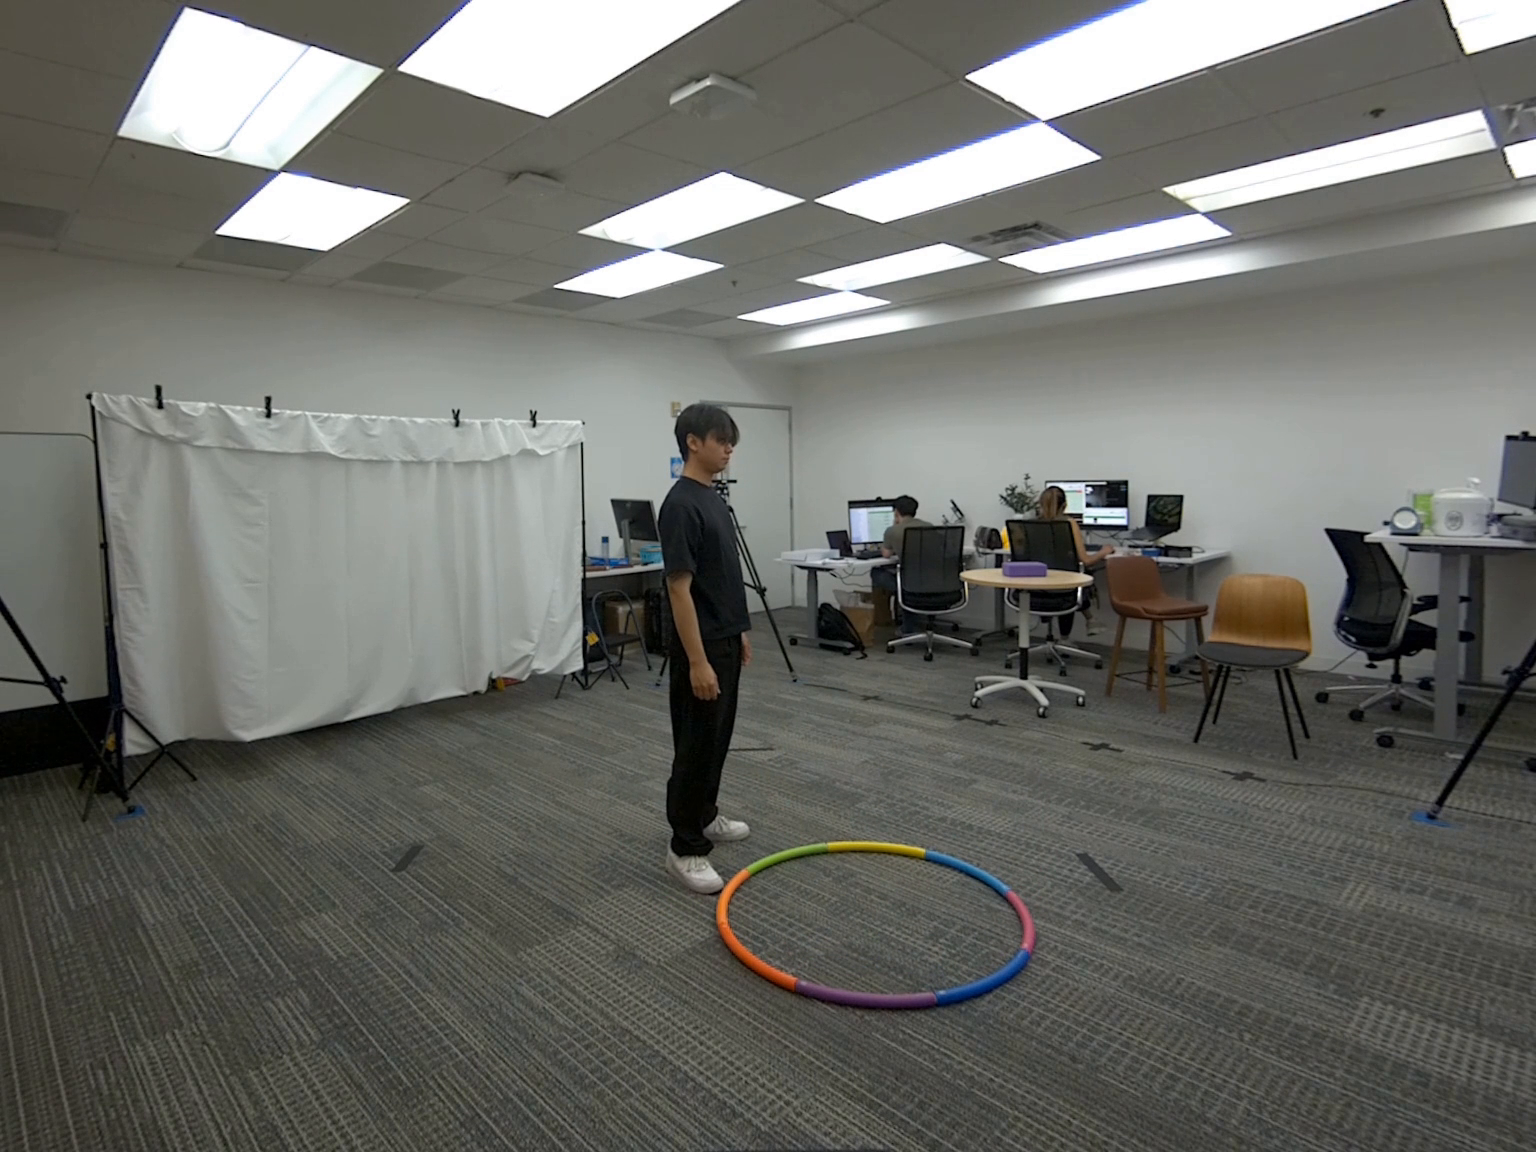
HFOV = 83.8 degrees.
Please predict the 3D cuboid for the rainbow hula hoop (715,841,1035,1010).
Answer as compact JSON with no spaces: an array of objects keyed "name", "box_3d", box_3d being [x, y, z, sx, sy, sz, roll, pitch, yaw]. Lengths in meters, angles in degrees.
[{"name":"rainbow hula hoop","box_3d":[0.326,1.059,2.725,0.978,0.035,0.984,-2,6,-2]}]
